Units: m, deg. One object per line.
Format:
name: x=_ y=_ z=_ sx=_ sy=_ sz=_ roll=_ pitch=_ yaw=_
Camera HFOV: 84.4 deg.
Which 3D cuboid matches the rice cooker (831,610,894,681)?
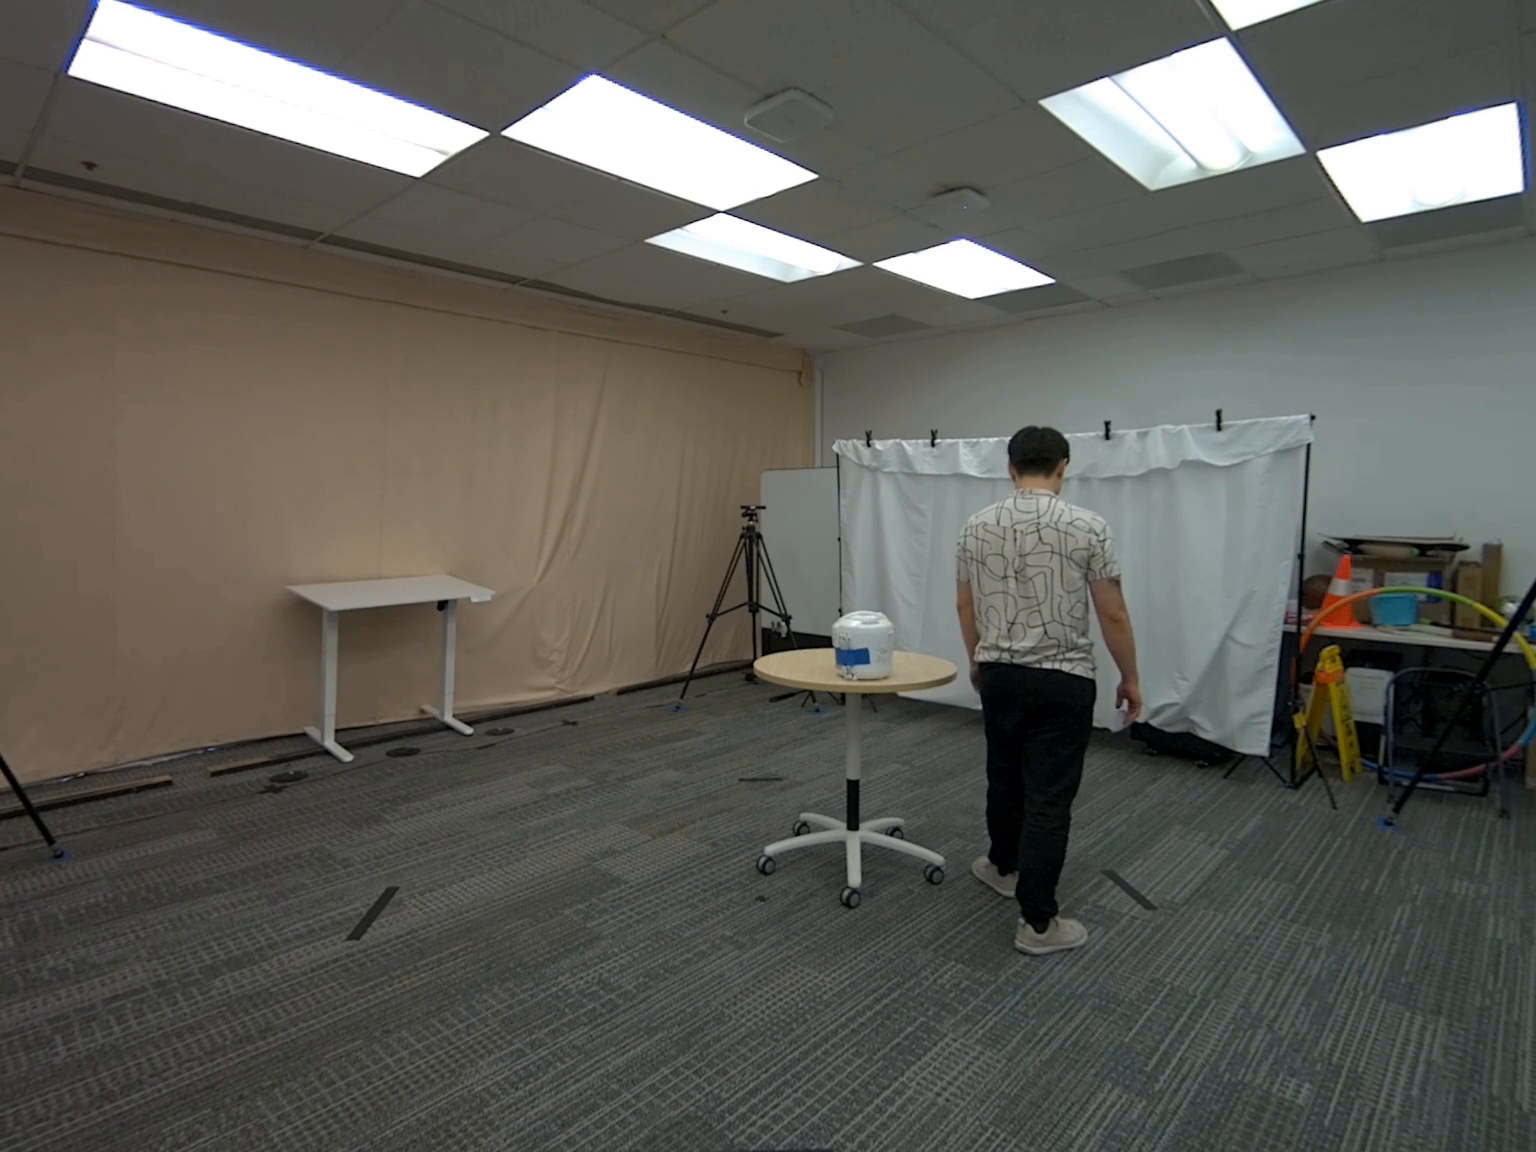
rice cooker: x=0.344 y=0.240 z=3.011 sx=0.219 sy=0.232 sz=0.219 roll=0 pitch=4 yaw=-5
